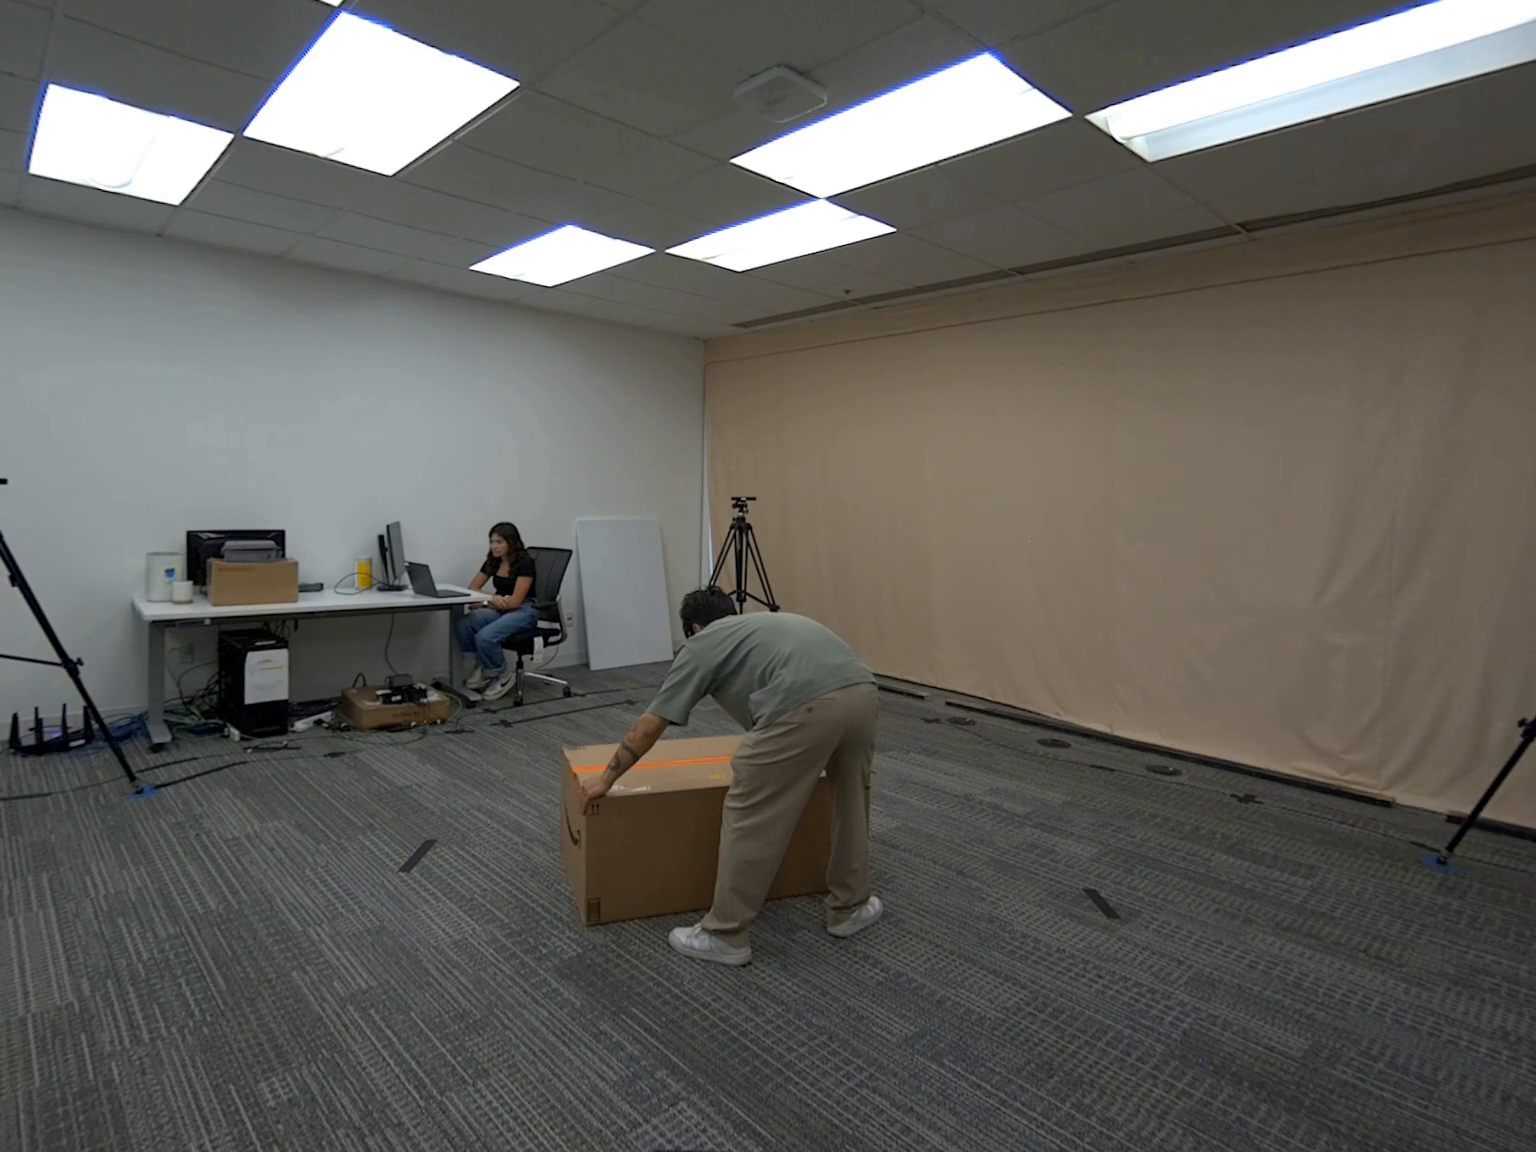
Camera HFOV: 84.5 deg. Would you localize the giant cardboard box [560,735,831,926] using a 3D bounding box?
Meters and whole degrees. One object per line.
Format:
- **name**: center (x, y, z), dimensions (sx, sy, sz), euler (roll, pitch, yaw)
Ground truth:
- **giant cardboard box**: center (-0.223, 0.884, 3.135), dimensions (1.010, 0.425, 0.588), euler (0, 4, -20)
